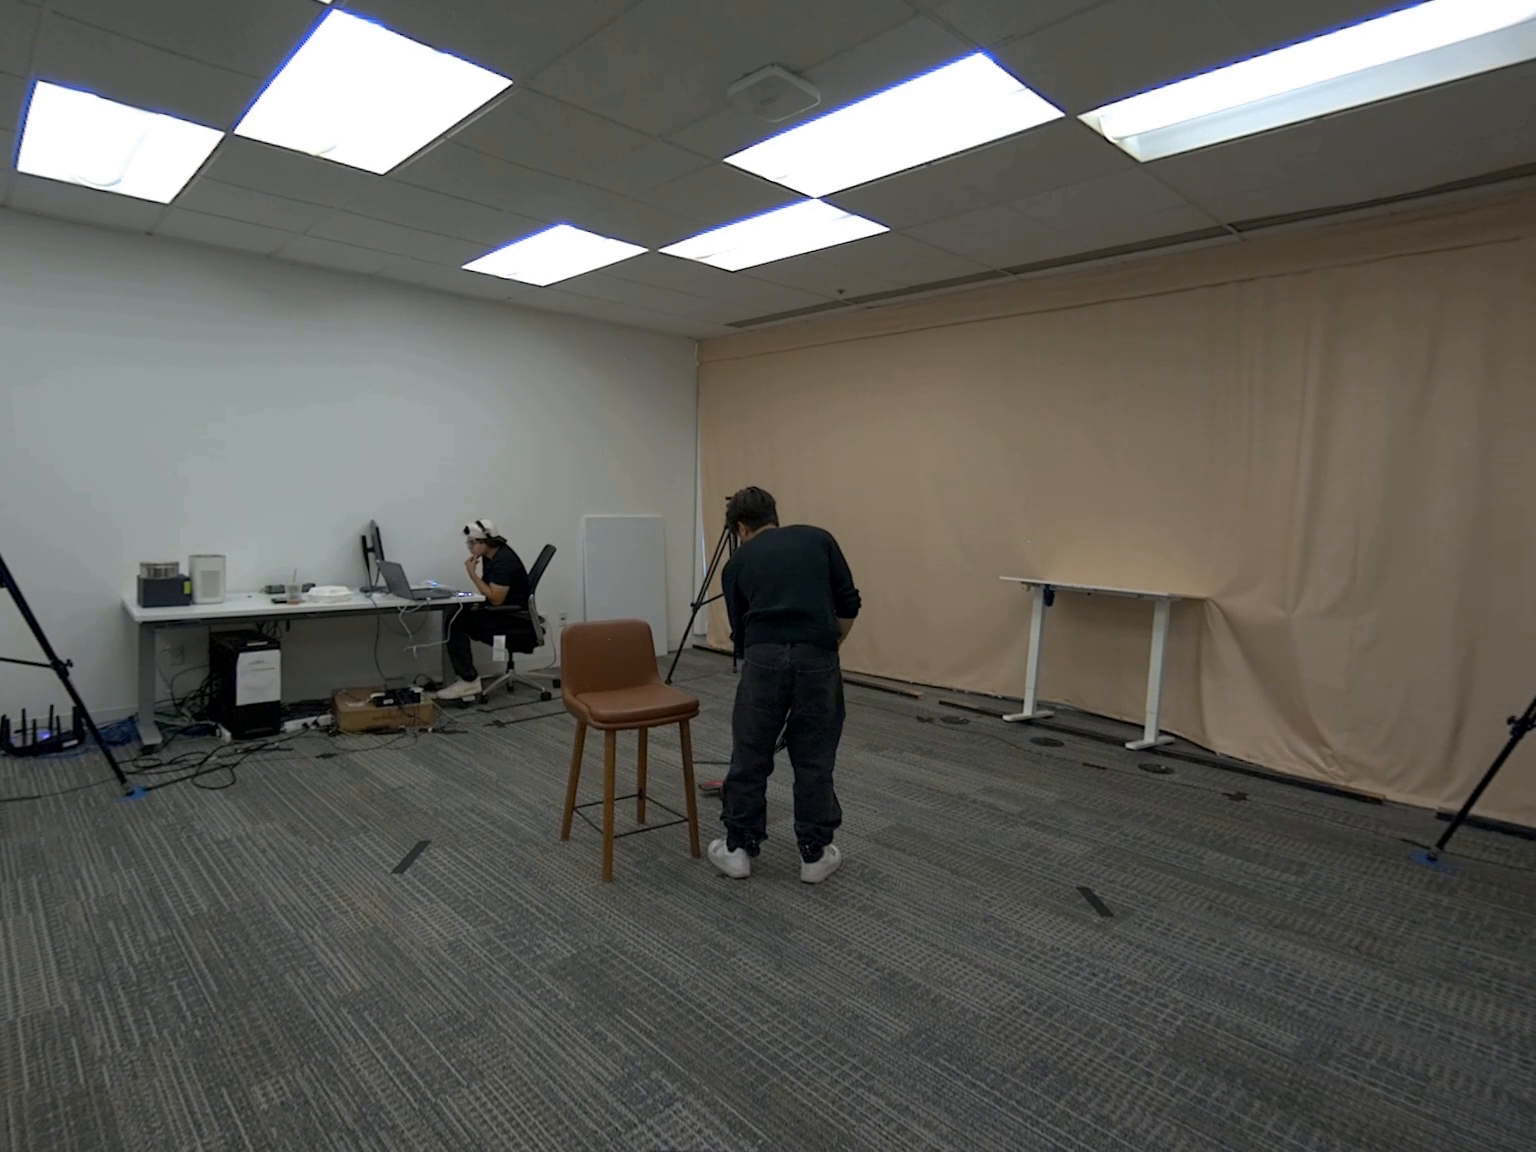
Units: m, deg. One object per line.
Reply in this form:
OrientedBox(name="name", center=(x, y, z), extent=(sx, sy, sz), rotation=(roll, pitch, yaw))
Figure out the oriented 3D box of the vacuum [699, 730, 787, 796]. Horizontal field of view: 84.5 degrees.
OrientedBox(name="vacuum", center=(0.003, 0.689, 3.625), extent=(0.247, 0.148, 1.041), rotation=(1, -40, -29))
